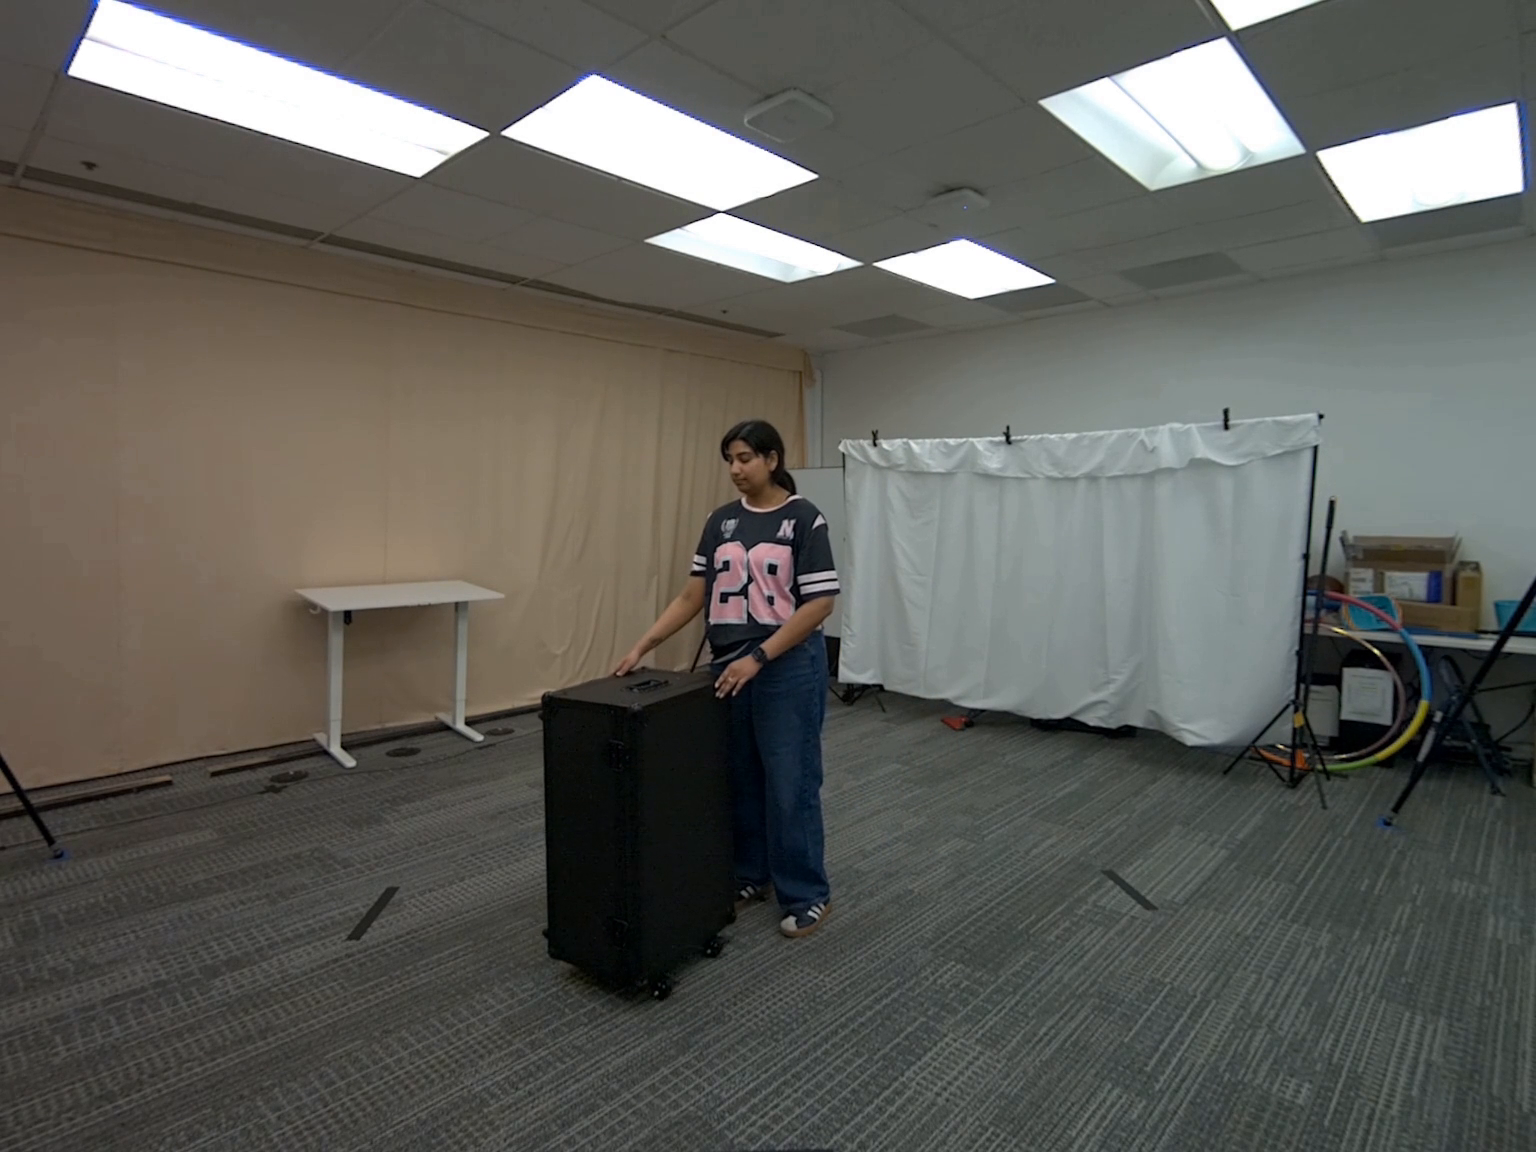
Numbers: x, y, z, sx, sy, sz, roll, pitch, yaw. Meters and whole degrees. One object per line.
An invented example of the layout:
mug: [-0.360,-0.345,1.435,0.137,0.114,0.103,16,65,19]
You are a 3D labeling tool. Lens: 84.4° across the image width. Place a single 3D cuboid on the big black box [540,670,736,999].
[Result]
big black box: [-0.387,0.762,2.554,0.396,0.867,0.509,1,3,31]
